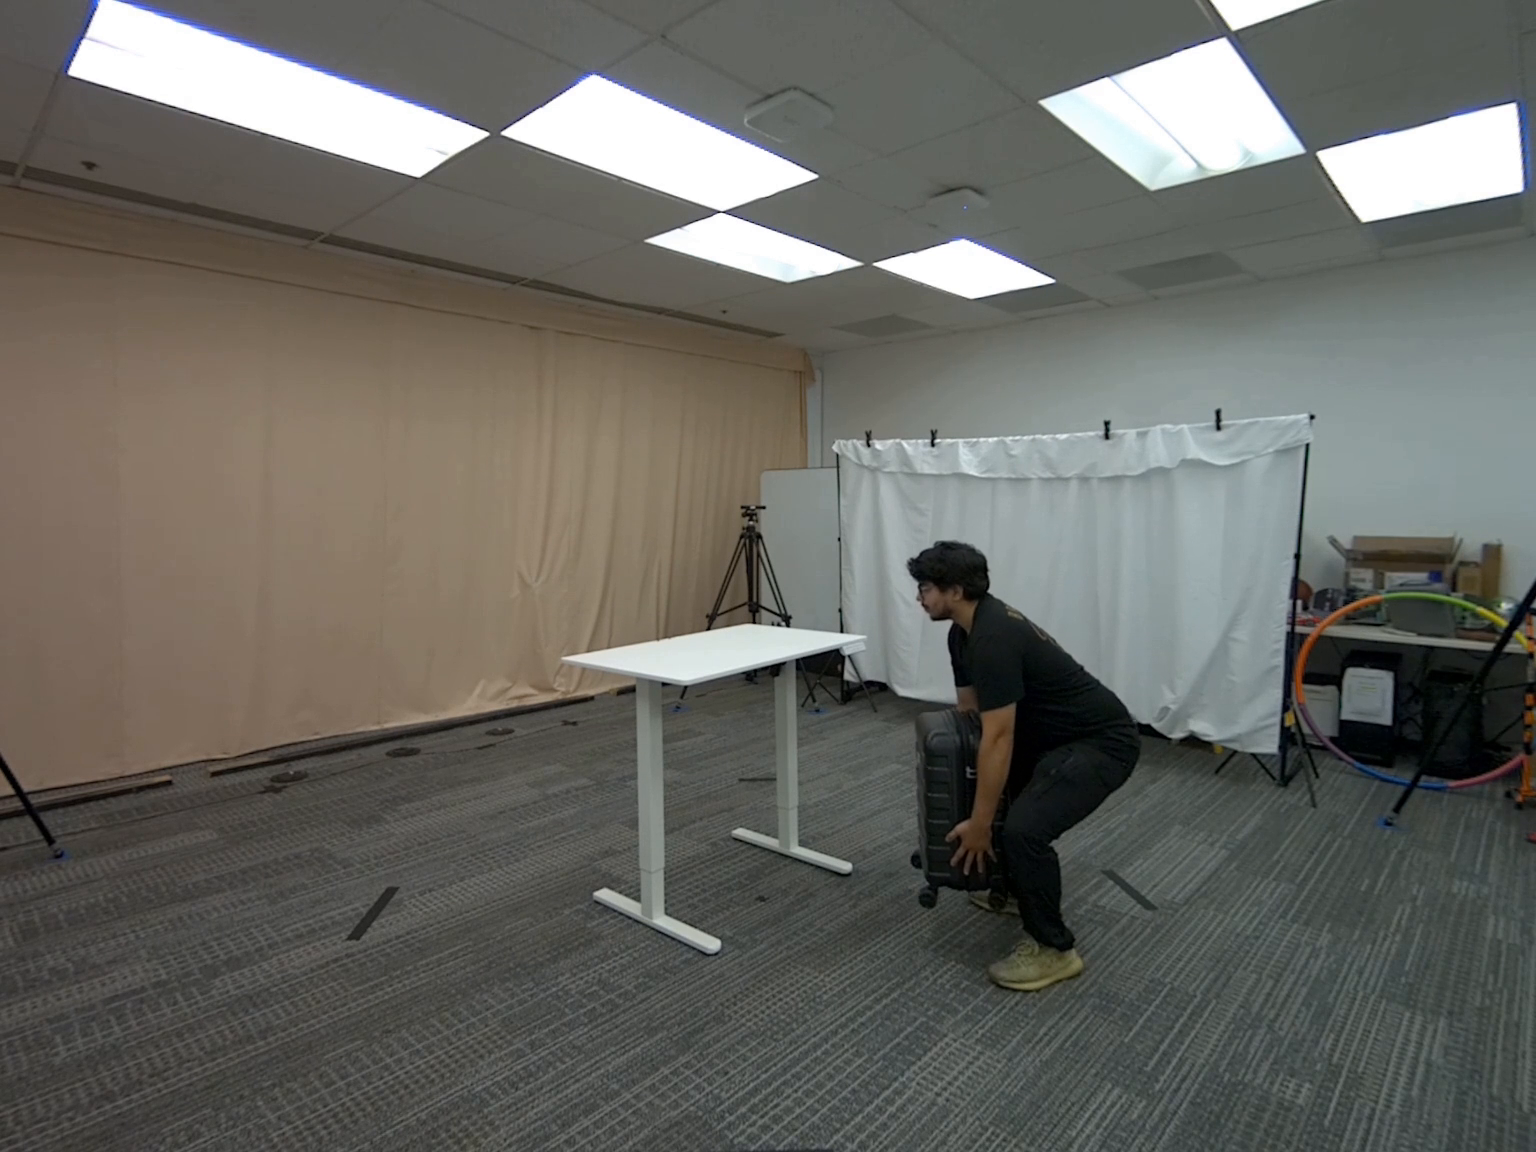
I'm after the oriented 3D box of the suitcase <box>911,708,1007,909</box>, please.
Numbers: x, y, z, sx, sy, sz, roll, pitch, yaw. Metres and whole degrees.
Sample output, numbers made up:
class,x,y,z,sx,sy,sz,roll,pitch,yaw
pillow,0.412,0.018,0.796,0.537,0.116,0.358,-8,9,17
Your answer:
class,x,y,z,sx,sy,sz,roll,pitch,yaw
suitcase,0.625,0.732,2.661,0.251,0.548,0.373,-2,4,8
